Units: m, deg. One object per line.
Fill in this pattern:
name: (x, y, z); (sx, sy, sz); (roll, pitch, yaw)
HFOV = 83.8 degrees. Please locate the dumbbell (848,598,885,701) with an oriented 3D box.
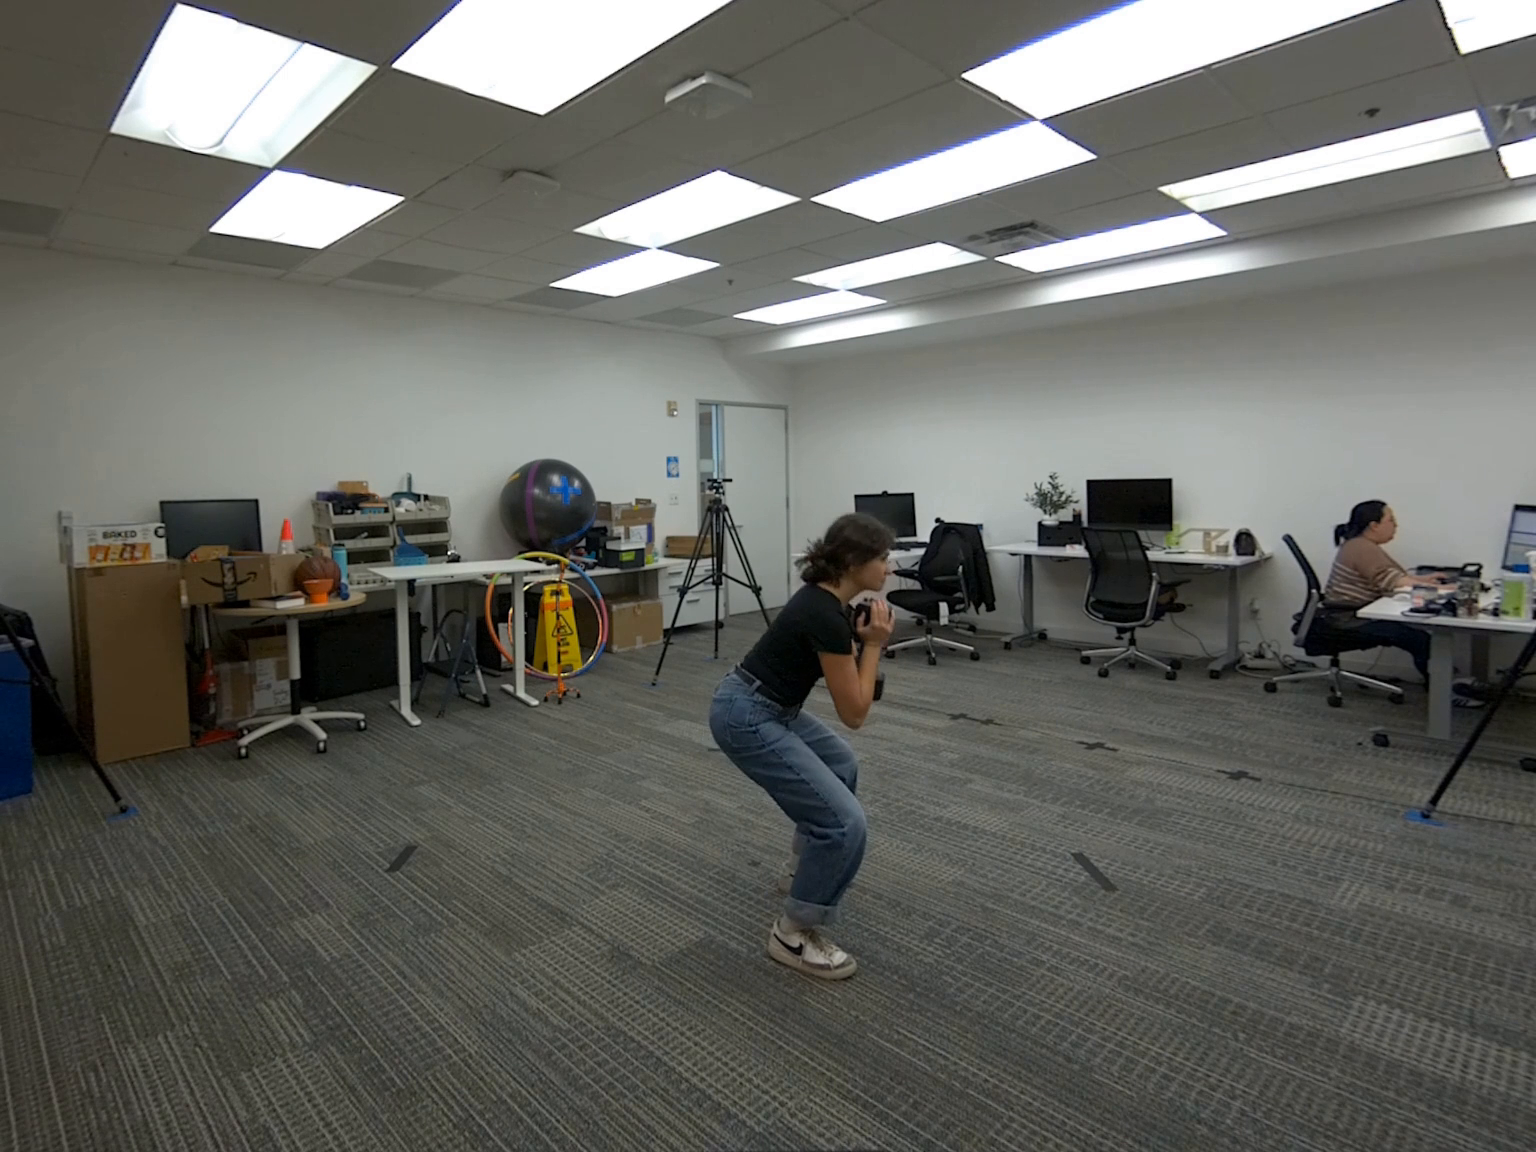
dumbbell: (0.291, 0.232, 2.609); (0.127, 0.293, 0.105); (12, 2, 39)
